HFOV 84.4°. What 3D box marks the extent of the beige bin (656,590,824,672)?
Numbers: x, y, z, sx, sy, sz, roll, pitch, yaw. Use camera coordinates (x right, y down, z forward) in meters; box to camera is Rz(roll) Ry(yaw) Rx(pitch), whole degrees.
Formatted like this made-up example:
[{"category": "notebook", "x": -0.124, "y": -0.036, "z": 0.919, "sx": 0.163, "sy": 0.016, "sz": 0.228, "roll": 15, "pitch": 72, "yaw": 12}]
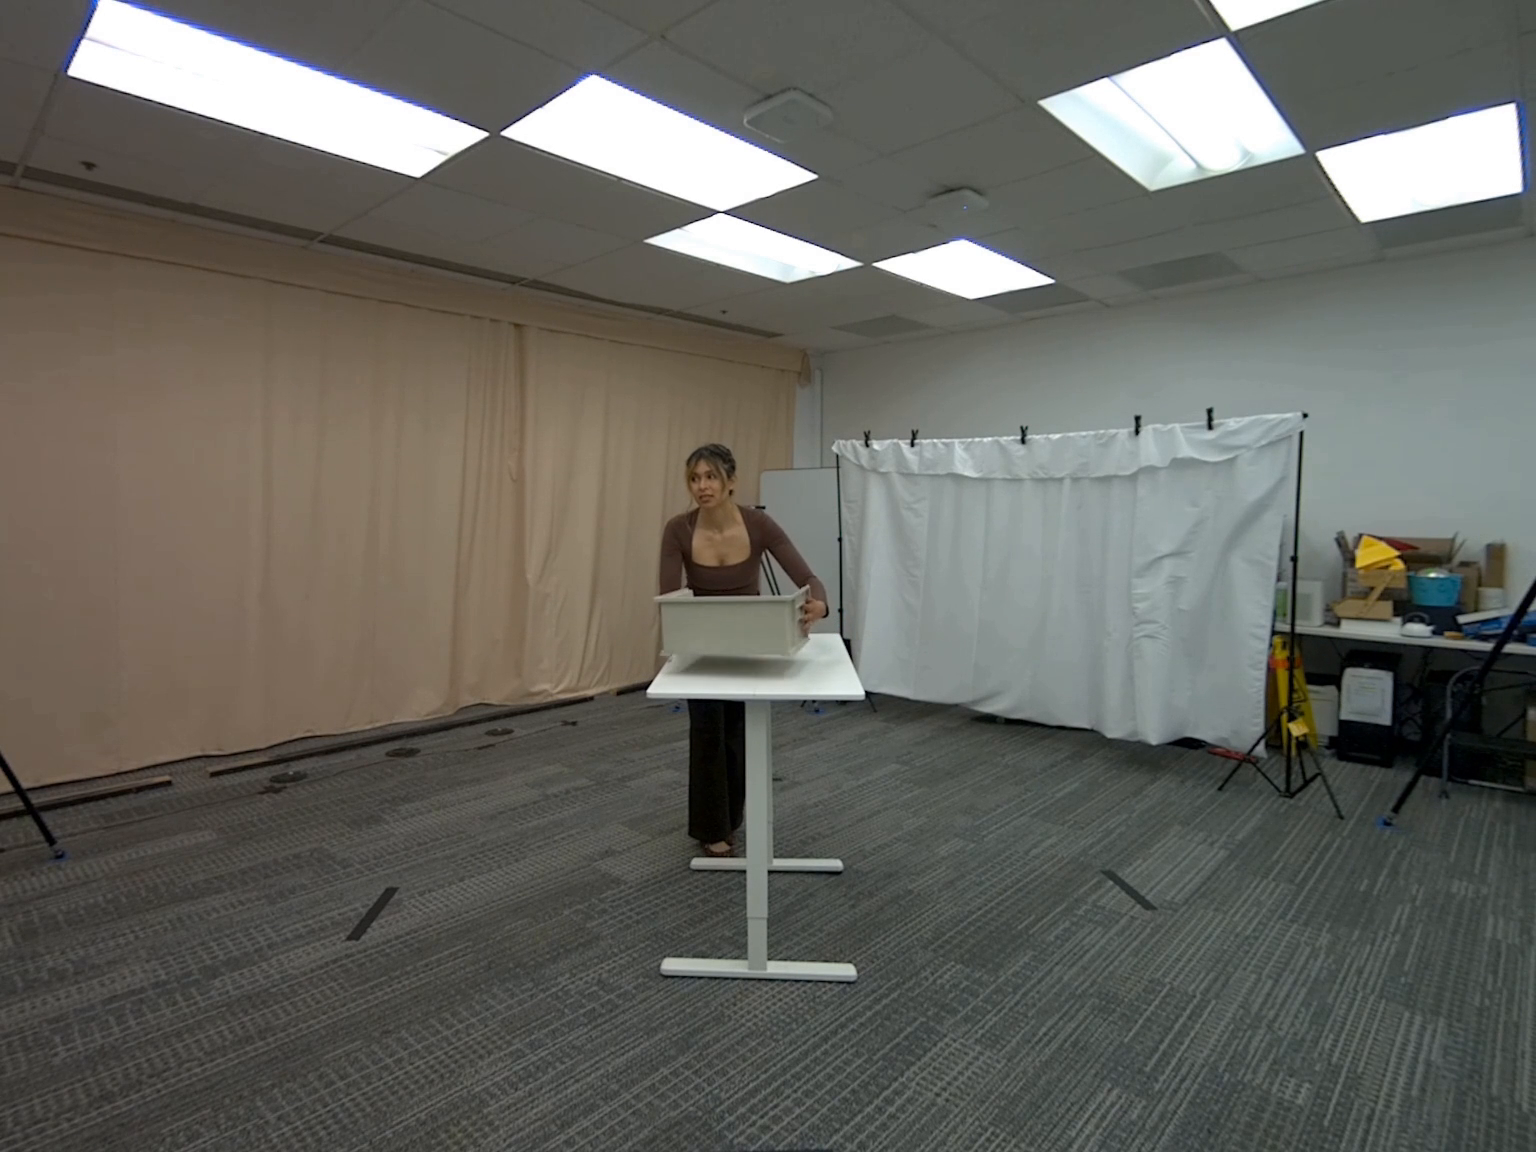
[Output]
[{"category": "beige bin", "x": -0.090, "y": 0.139, "z": 2.653, "sx": 0.429, "sy": 0.188, "sz": 0.373, "roll": -1, "pitch": 5, "yaw": 13}]
